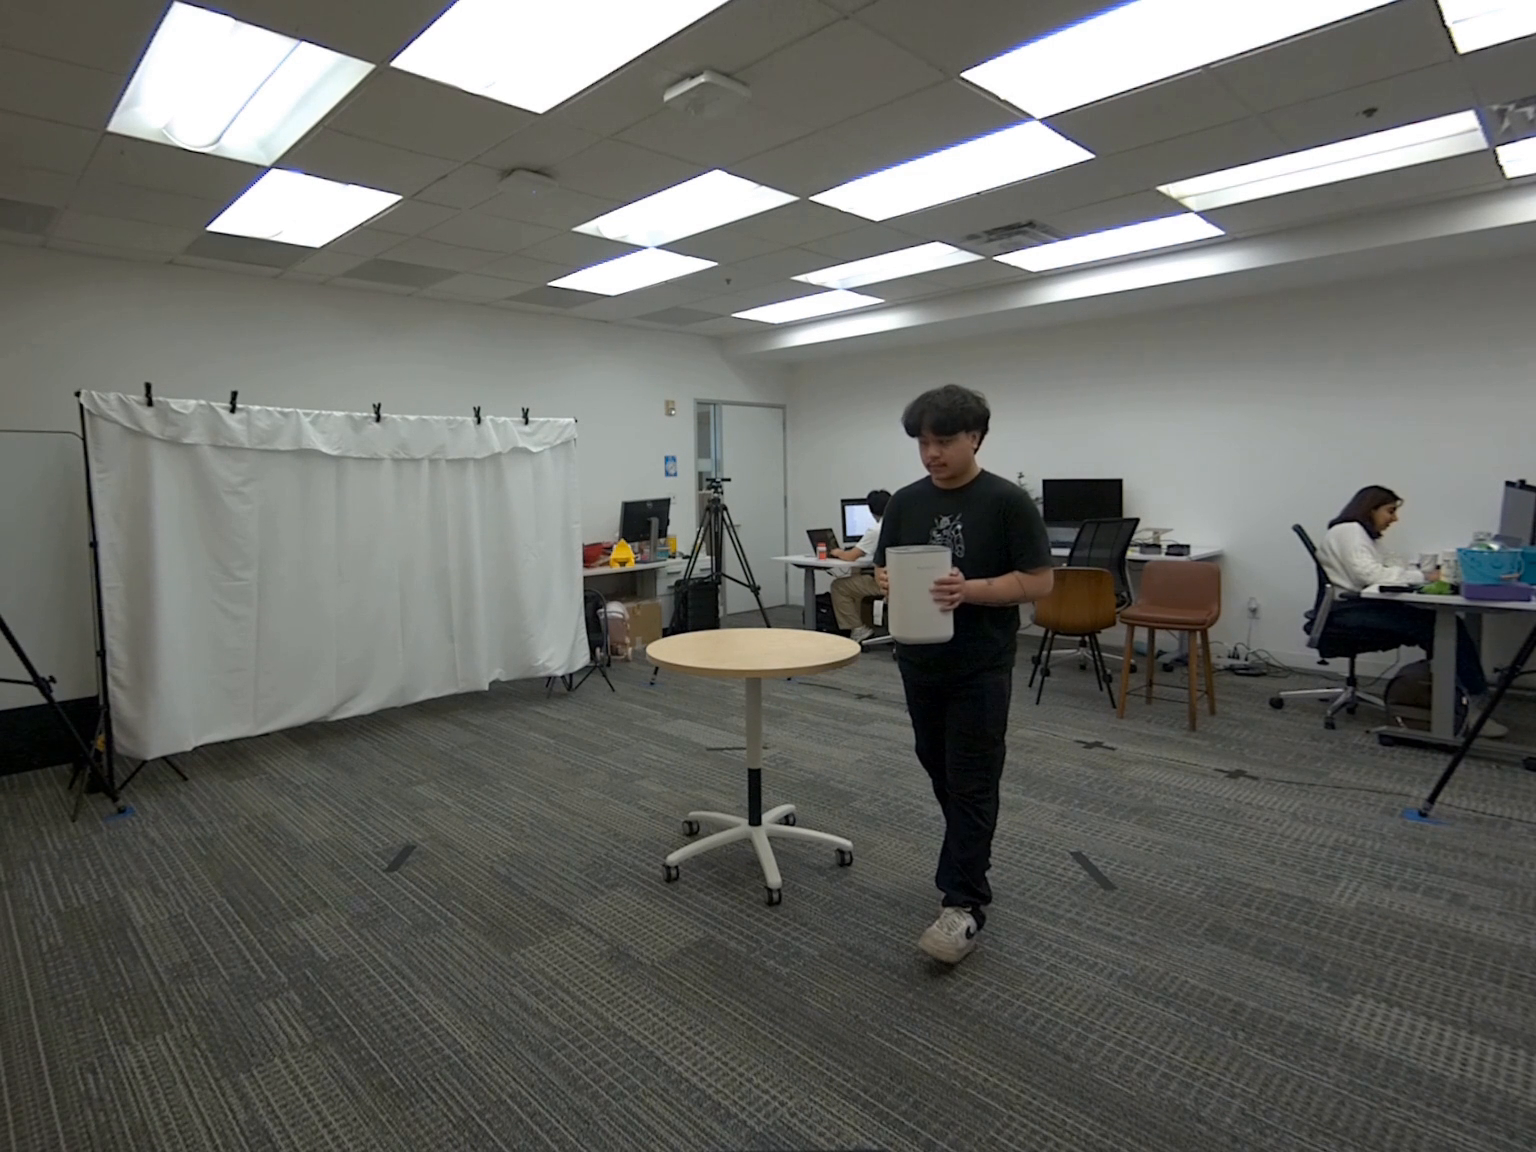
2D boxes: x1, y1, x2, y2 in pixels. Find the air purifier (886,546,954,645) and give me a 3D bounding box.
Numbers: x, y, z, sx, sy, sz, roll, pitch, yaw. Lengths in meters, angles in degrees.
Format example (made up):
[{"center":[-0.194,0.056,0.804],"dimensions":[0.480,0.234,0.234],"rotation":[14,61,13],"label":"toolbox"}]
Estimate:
[{"center":[0.435,0.051,2.470],"dimensions":[0.171,0.264,0.172],"rotation":[-3,5,0],"label":"air purifier"}]
